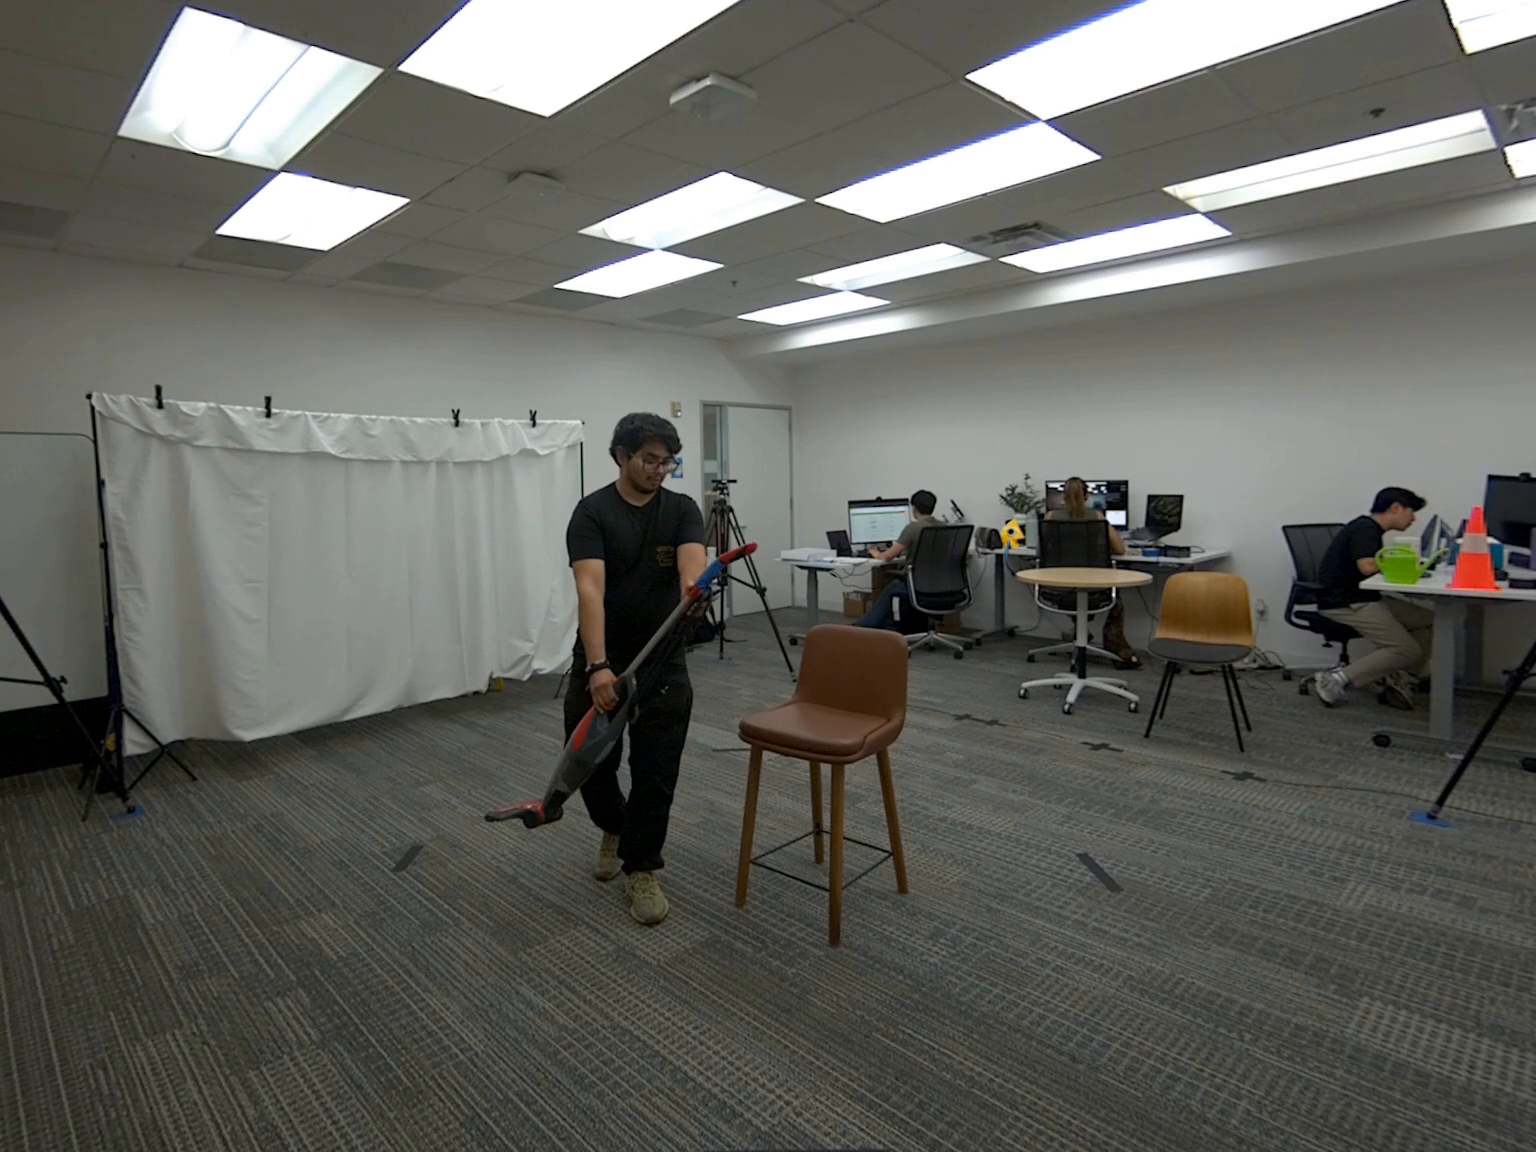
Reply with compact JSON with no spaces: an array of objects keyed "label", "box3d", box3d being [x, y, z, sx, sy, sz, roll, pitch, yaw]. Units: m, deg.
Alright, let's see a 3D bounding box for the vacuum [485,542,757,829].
[{"label":"vacuum","box3d":[-0.384,0.322,2.426,0.149,1.048,0.244,43,11,28]}]
